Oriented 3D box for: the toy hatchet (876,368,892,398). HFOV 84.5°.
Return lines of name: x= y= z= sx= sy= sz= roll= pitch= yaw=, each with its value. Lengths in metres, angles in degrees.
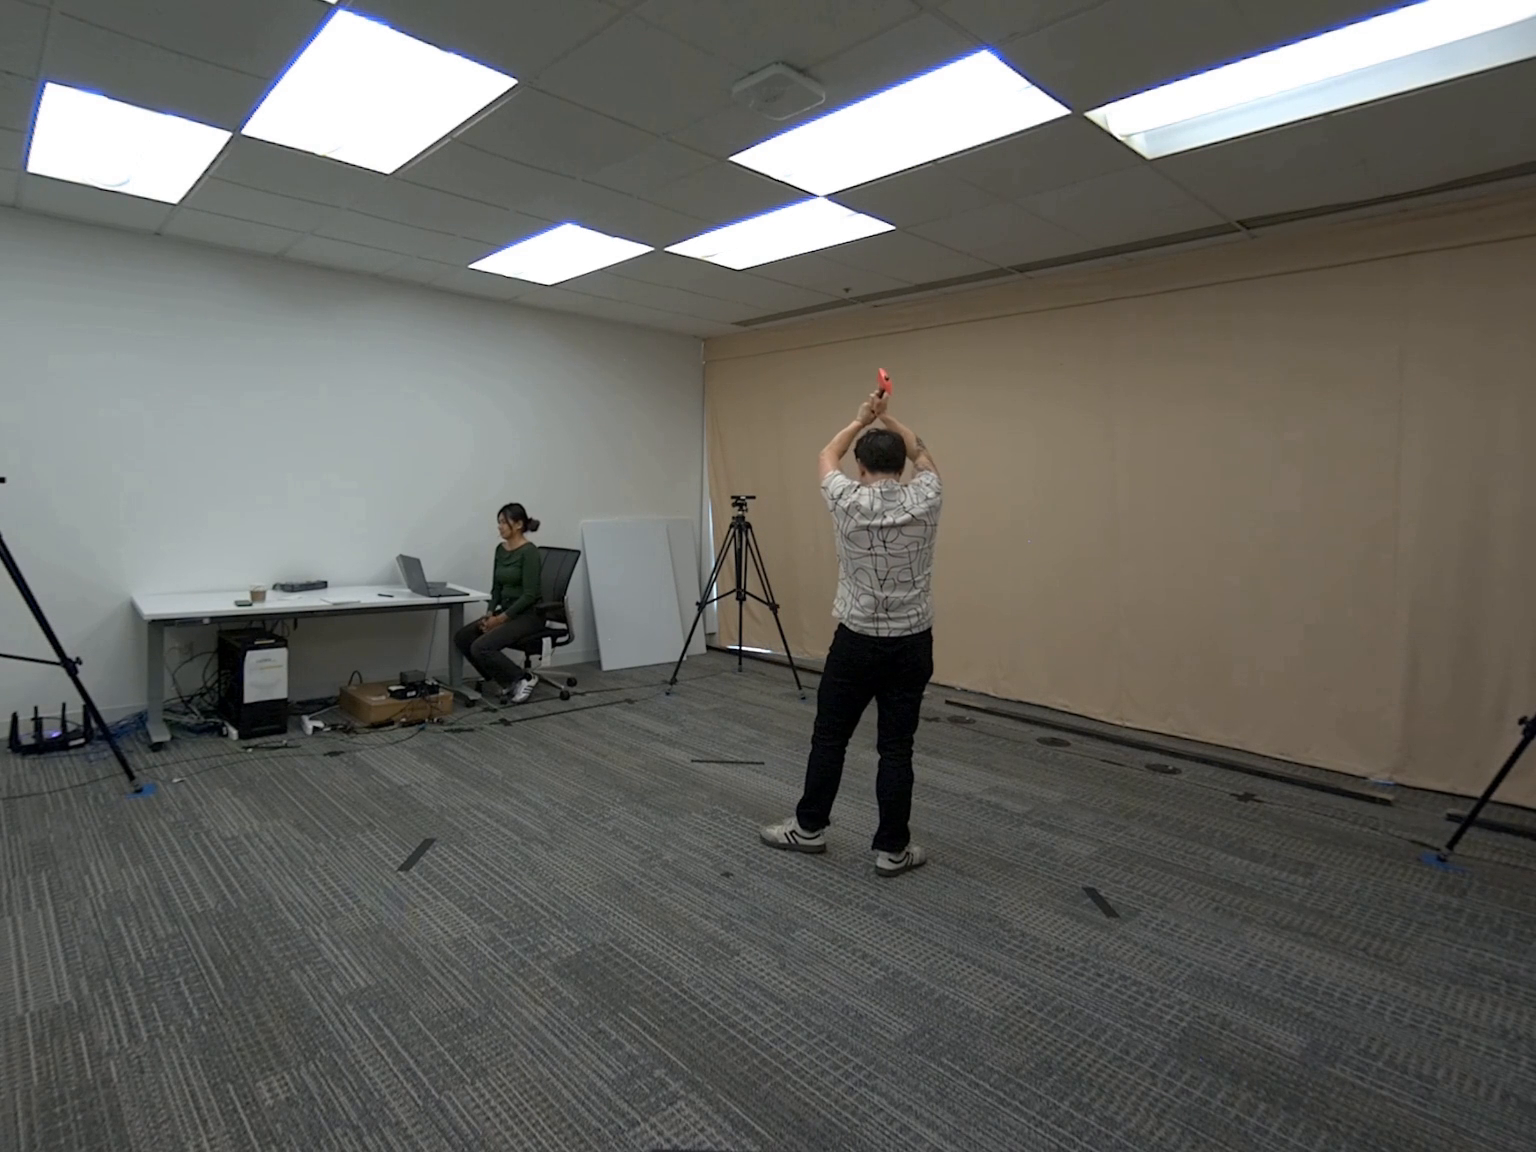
toy hatchet: x=0.425 y=-0.742 z=3.379 sx=0.029 sy=0.132 sz=0.270 roll=-8 pitch=-9 yaw=-12
